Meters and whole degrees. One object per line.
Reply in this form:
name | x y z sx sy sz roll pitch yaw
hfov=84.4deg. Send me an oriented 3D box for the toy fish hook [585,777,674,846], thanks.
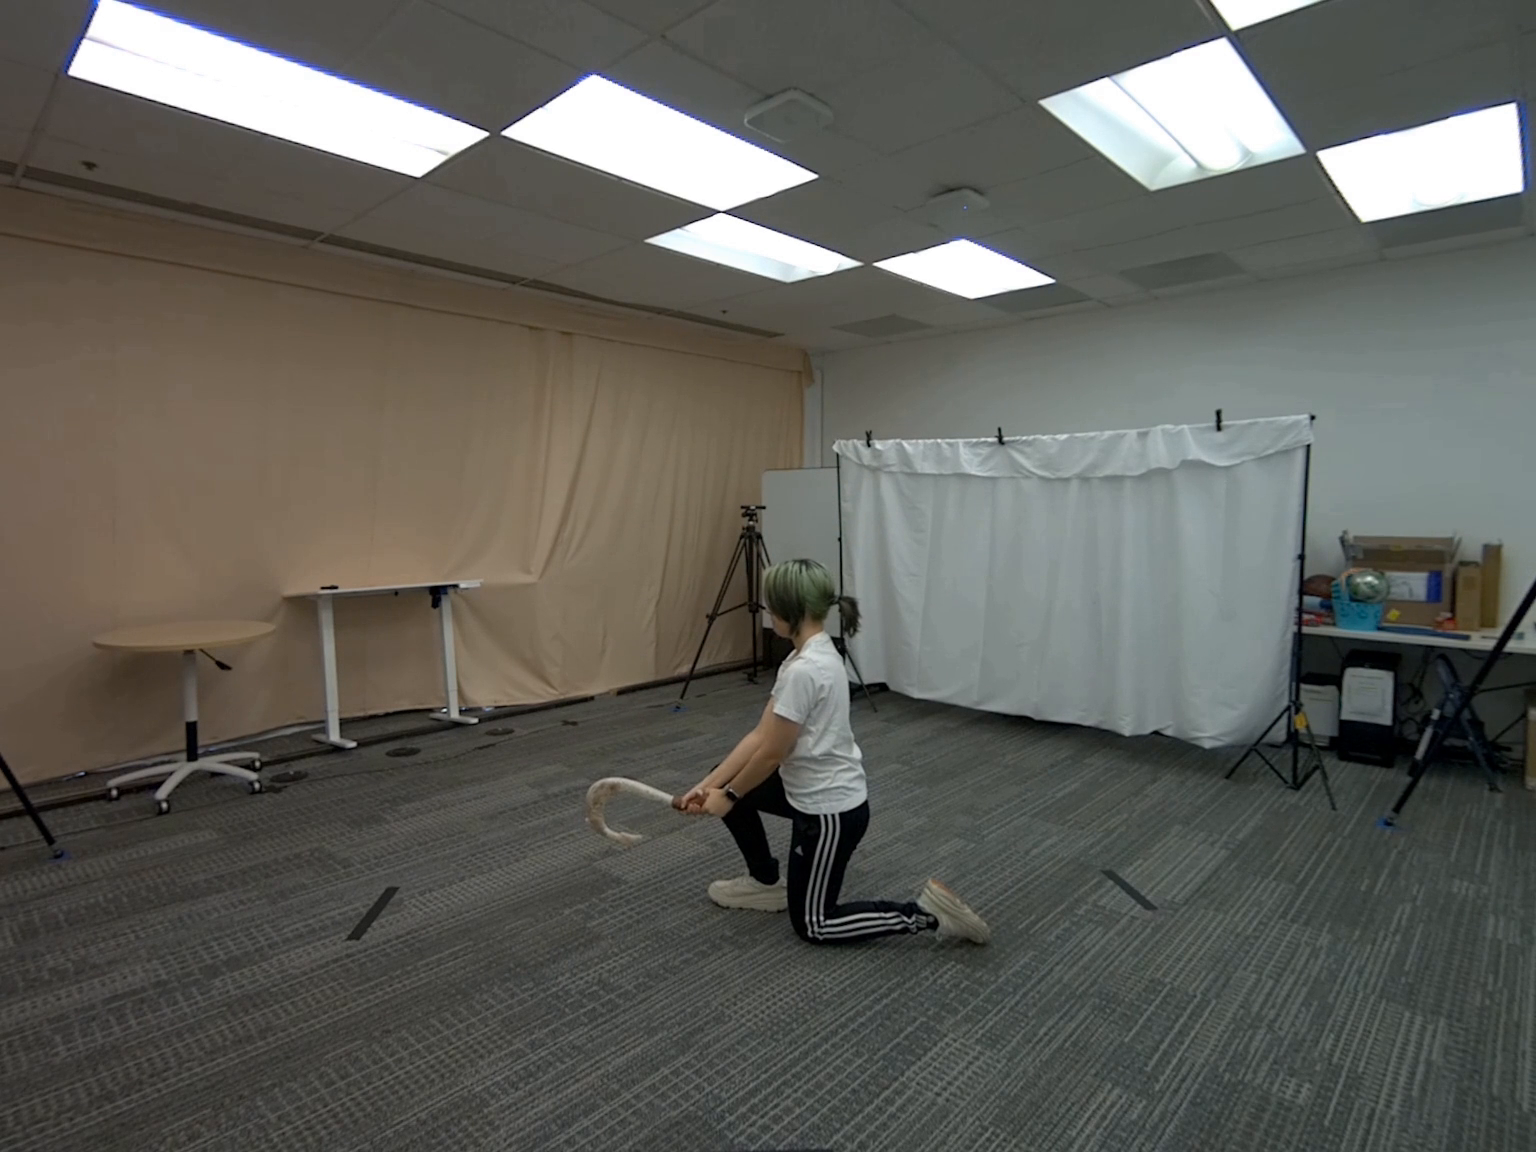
toy fish hook | -0.377 0.784 2.804 0.512 0.223 0.048 4 8 10
